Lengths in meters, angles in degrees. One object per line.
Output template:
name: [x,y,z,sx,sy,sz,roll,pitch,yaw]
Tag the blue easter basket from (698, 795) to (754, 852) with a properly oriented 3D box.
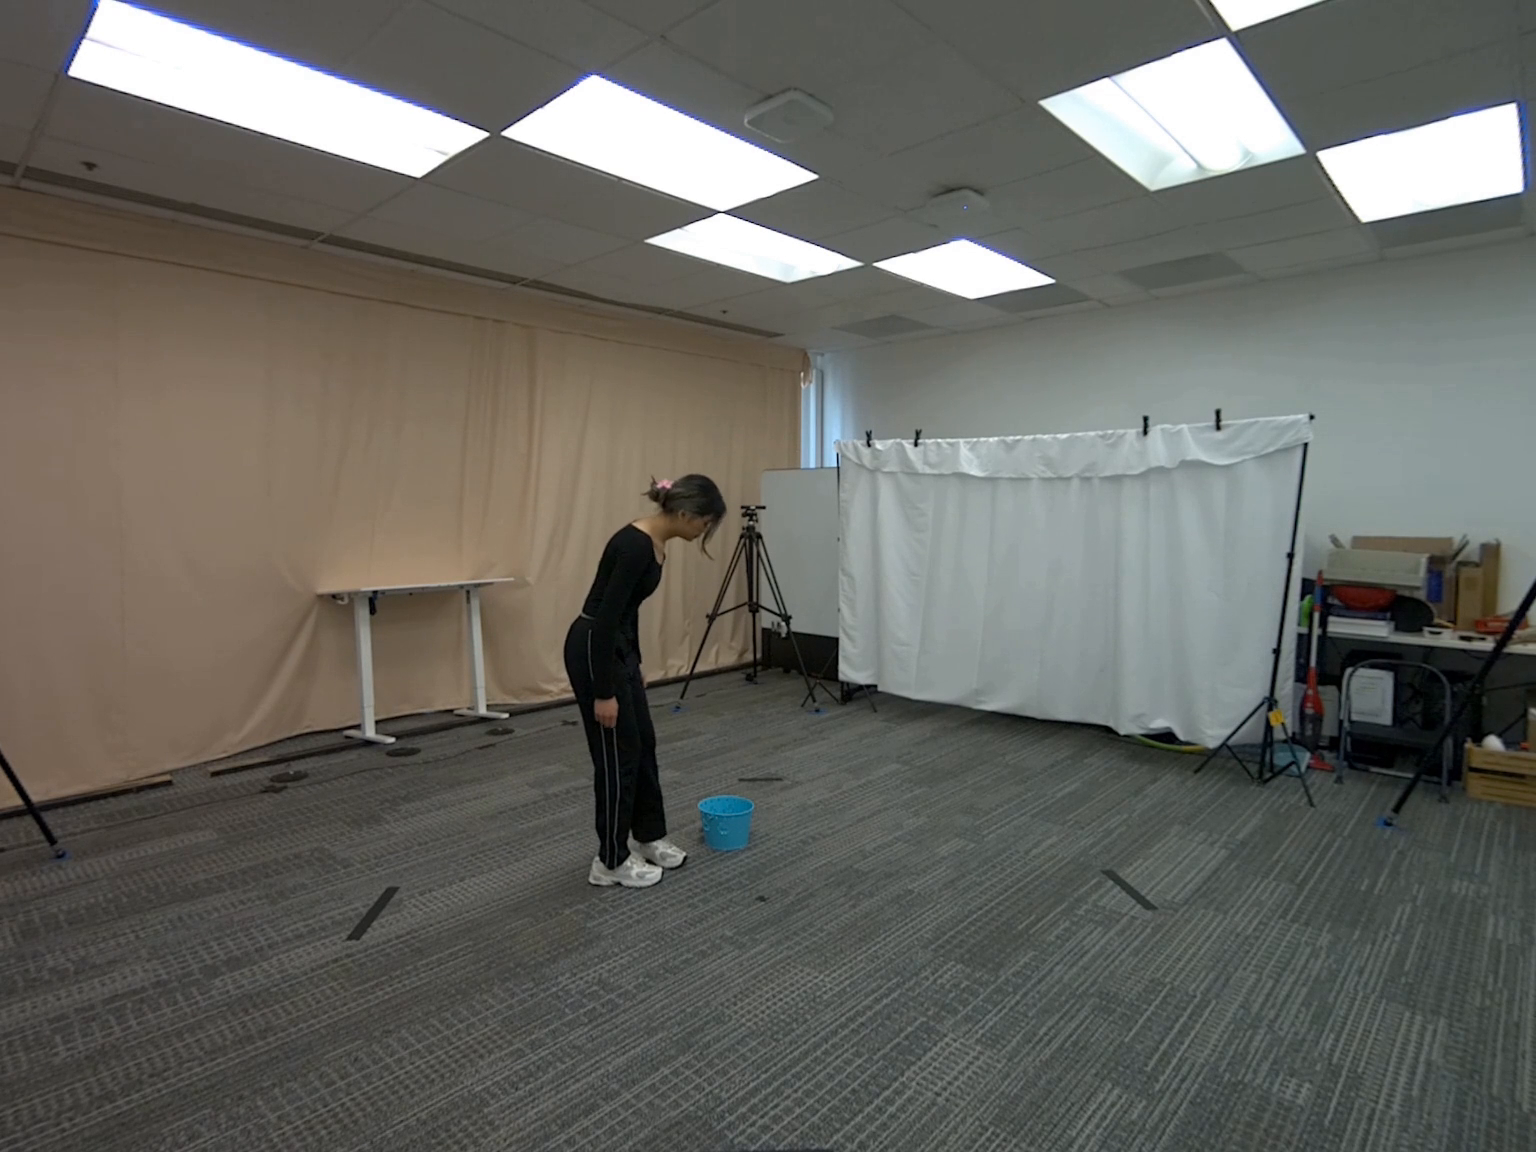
blue easter basket: [-0.173,1.024,3.496,0.243,0.155,0.244,0,4,-2]
